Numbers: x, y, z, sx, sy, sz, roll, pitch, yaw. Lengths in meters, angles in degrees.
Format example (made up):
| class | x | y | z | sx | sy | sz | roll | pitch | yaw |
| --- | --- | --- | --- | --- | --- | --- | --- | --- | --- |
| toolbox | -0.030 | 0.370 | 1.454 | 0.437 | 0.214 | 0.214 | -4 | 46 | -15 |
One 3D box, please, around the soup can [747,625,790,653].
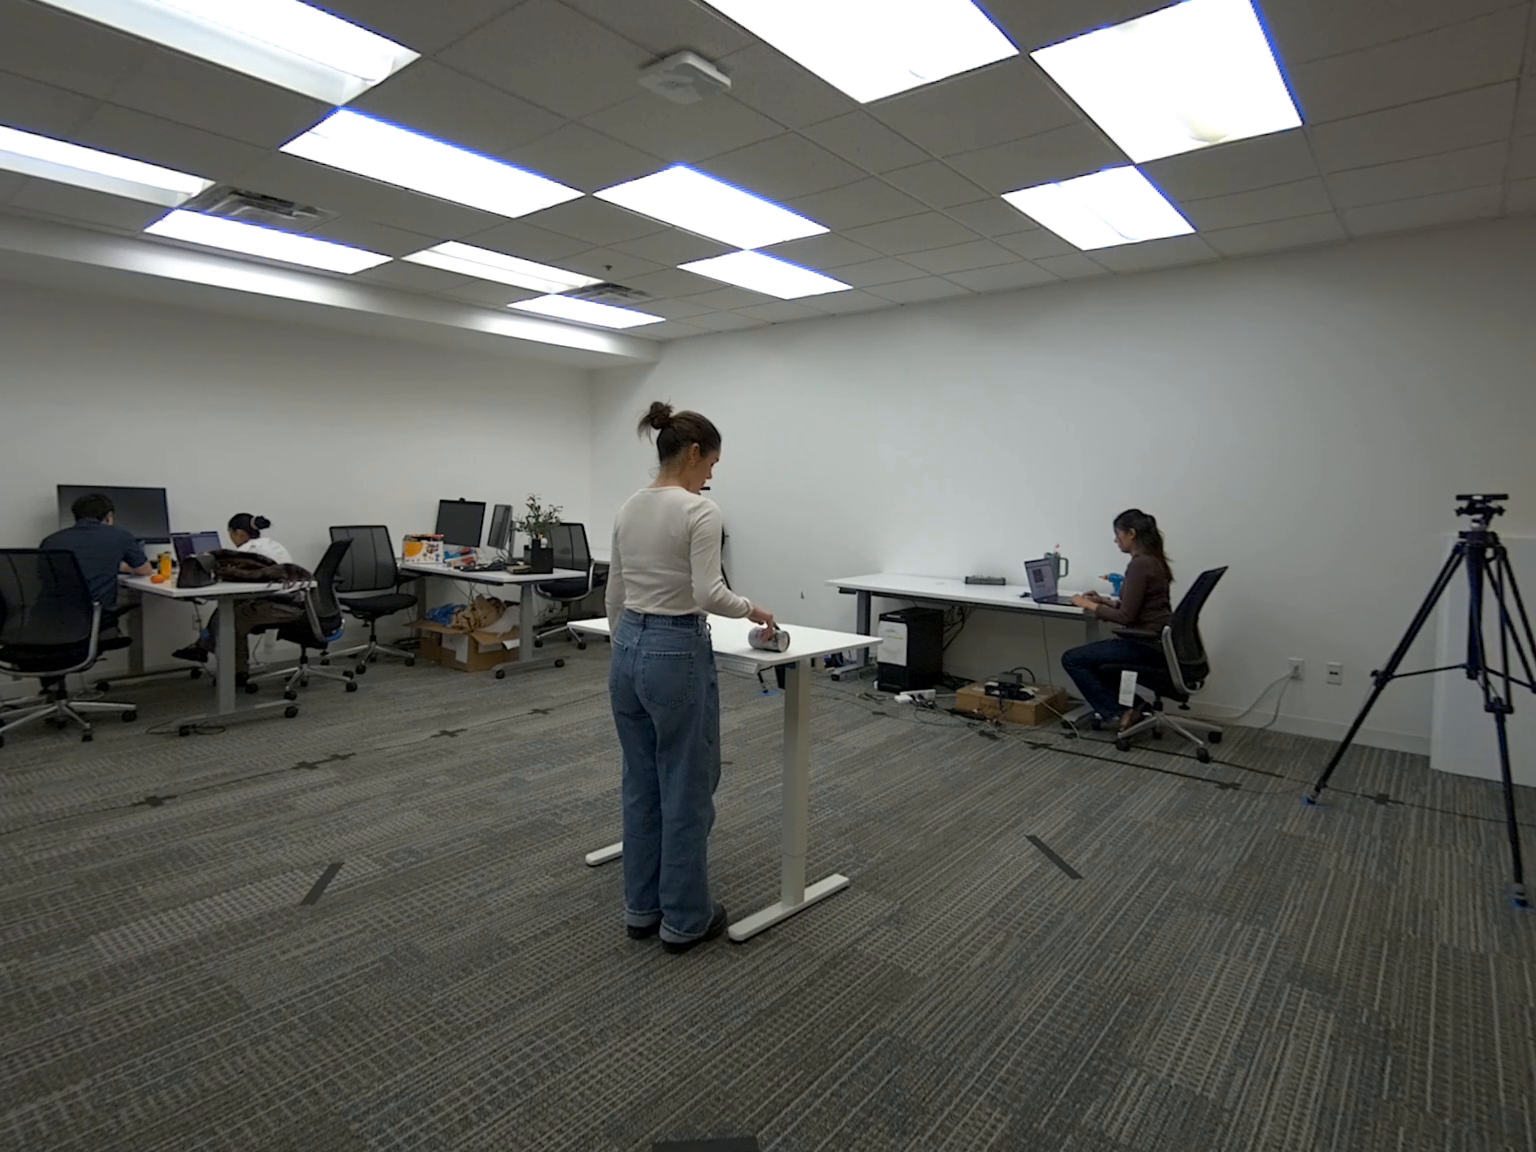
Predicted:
| class | x | y | z | sx | sy | sz | roll | pitch | yaw |
| --- | --- | --- | --- | --- | --- | --- | --- | --- | --- |
| soup can | -0.009 | 0.198 | 2.629 | 0.122 | 0.067 | 0.067 | 3 | 4 | 6 |
